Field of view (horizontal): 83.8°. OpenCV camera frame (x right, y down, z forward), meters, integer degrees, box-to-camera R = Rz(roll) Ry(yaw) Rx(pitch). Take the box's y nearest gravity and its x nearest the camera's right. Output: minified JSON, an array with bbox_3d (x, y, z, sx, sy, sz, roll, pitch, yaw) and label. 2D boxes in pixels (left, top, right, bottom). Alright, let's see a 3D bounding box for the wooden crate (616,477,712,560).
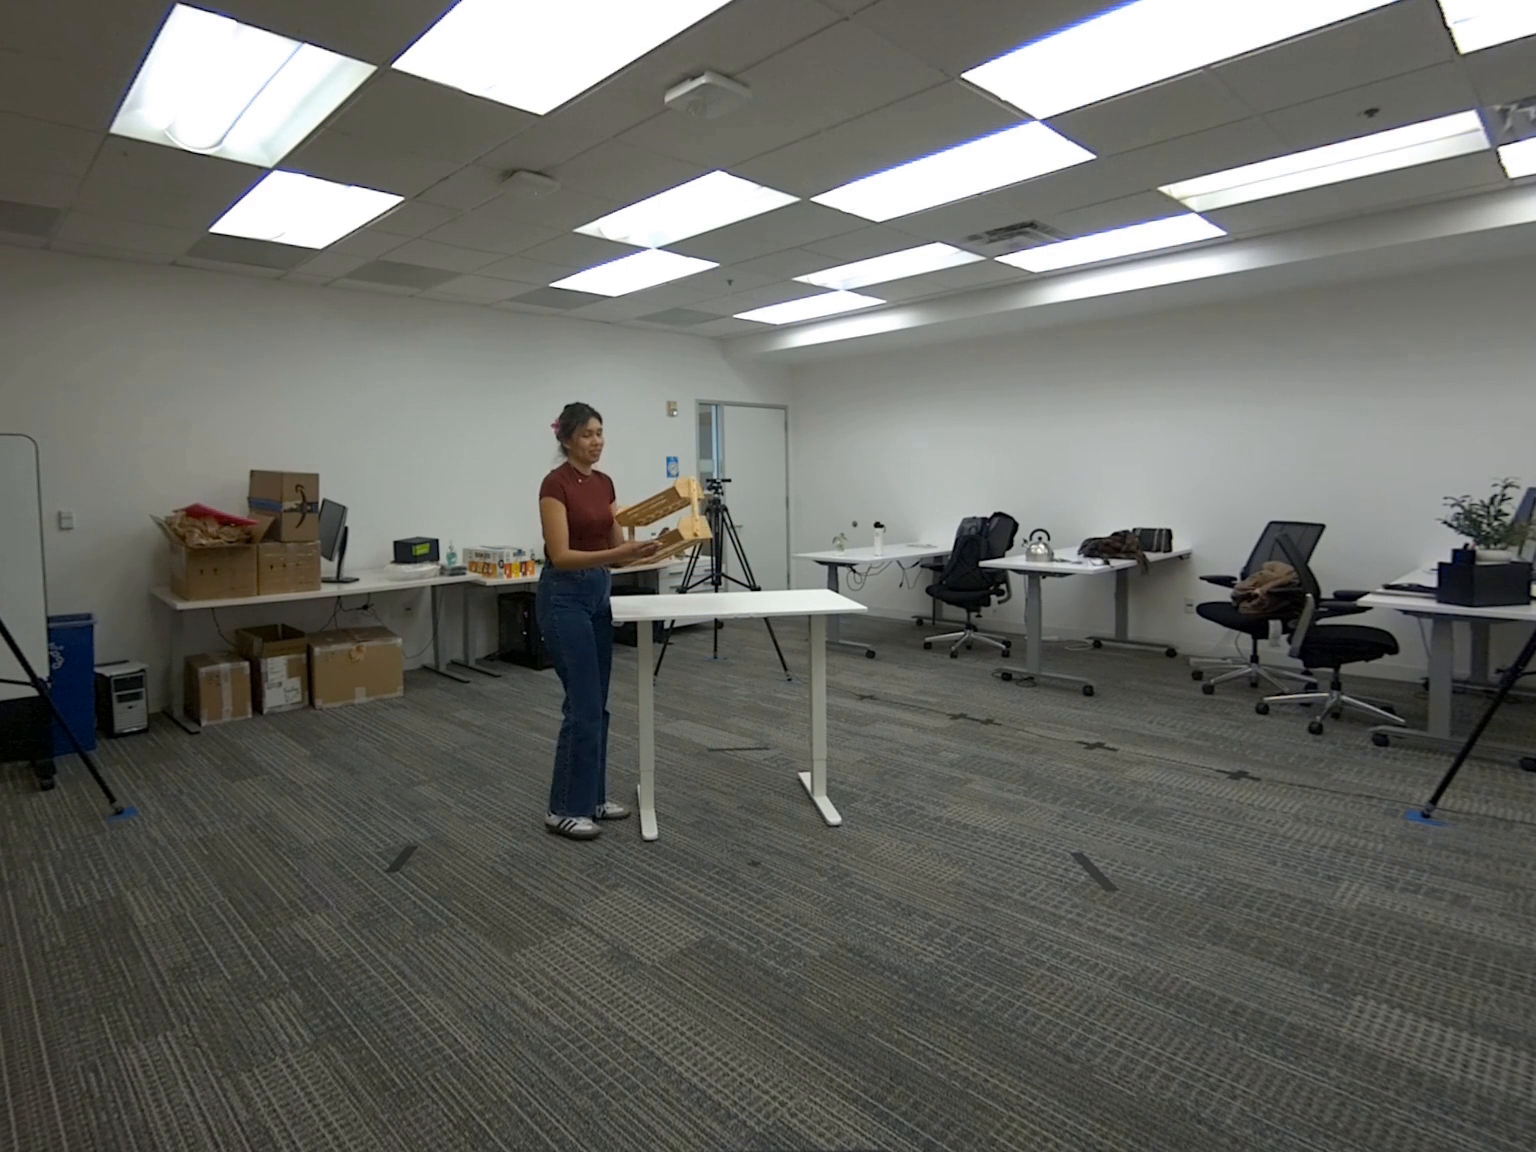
[{"bbox_3d":[-0.431,-0.214,3.337,0.328,0.276,0.296,-23,-7,24],"label":"wooden crate"}]
